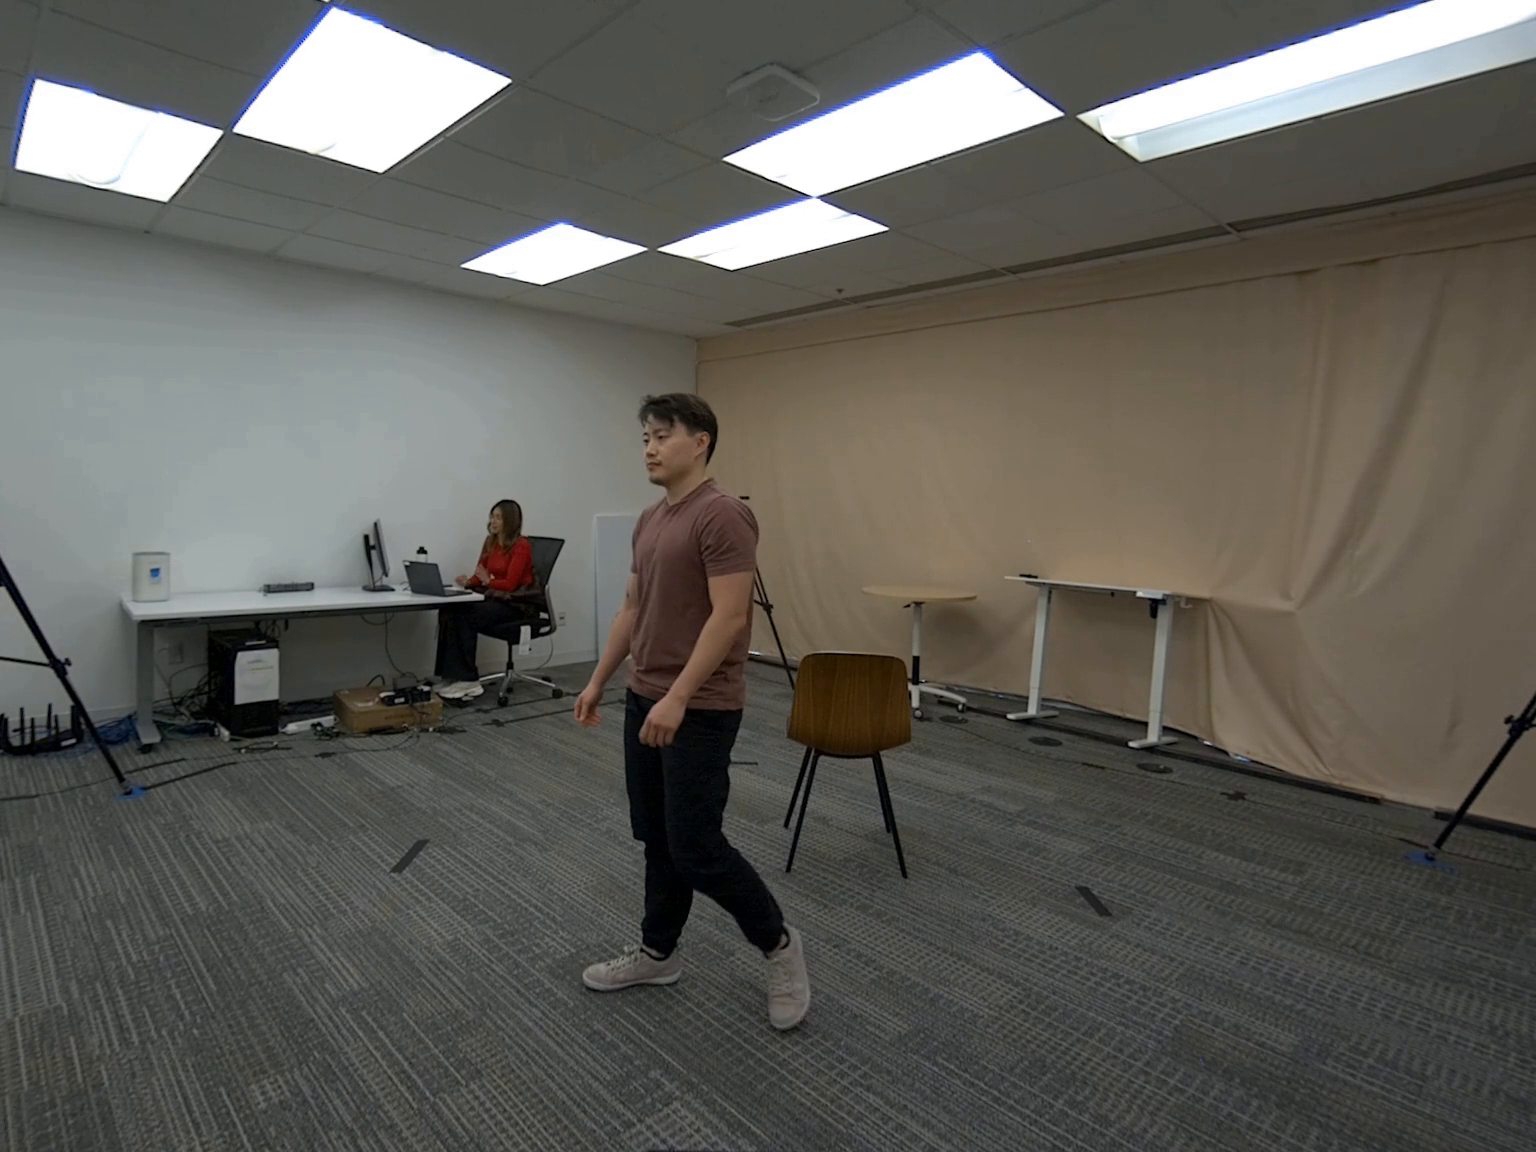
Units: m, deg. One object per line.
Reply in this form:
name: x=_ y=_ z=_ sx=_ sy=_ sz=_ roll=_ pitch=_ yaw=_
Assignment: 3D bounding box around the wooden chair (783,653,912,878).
wooden chair: x=0.292 y=0.668 z=3.325 sx=0.479 sy=0.873 sz=0.525 roll=1 pitch=7 yaw=1
